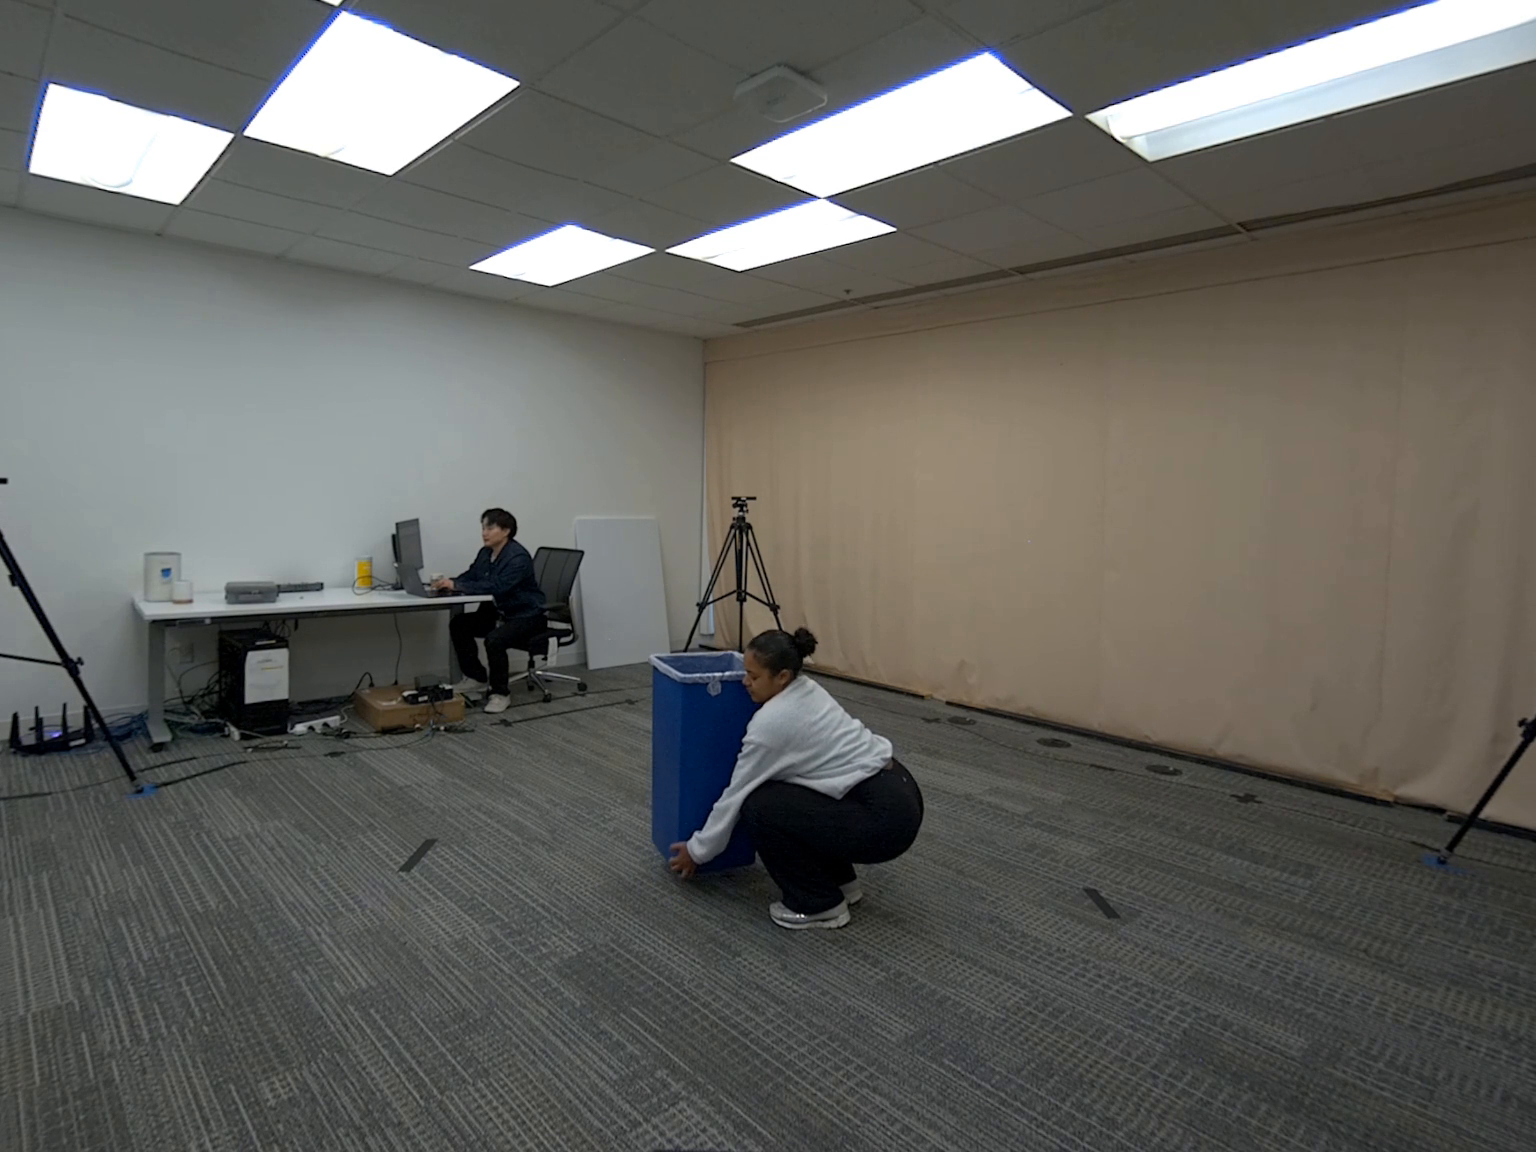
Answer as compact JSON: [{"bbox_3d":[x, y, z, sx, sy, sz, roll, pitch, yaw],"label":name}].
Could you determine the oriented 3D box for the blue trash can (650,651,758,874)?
[{"bbox_3d":[-0.229,0.656,3.095,0.367,0.711,0.386,0,5,-25],"label":"blue trash can"}]
